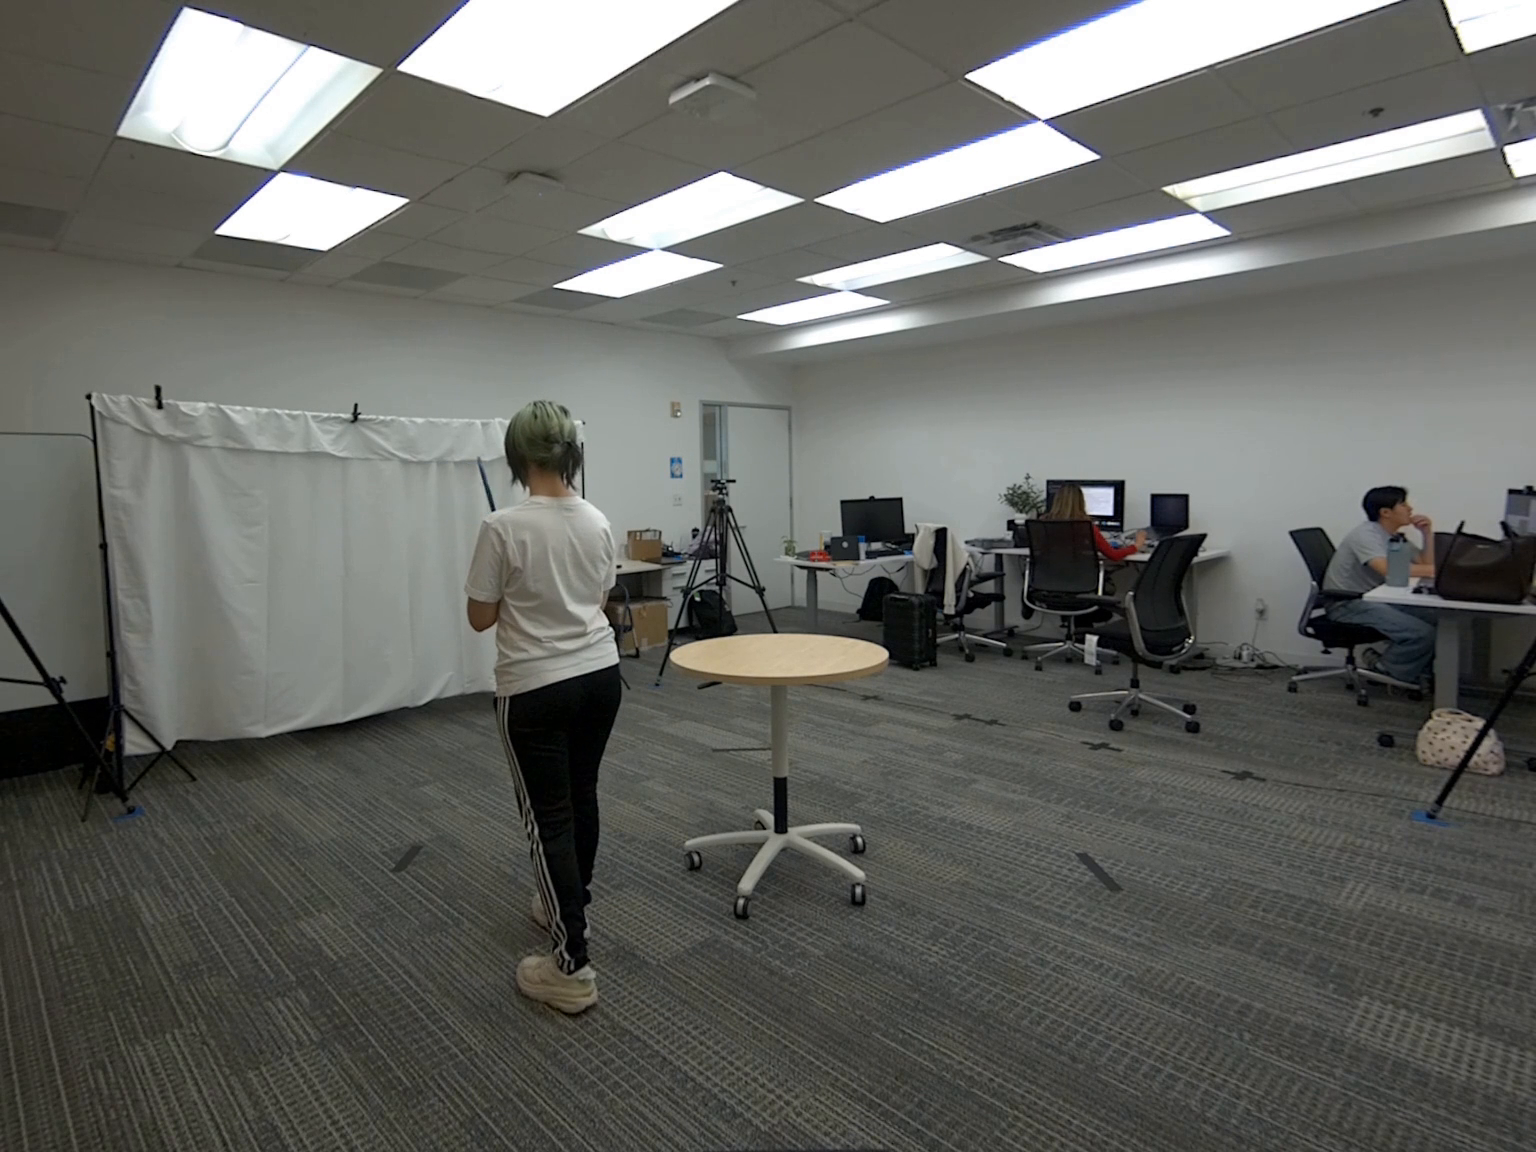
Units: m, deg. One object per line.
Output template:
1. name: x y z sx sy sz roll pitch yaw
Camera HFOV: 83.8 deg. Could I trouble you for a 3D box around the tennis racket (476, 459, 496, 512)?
1. tennis racket: -0.861 -0.178 2.699 0.031 0.442 0.212 -12 -19 -16
